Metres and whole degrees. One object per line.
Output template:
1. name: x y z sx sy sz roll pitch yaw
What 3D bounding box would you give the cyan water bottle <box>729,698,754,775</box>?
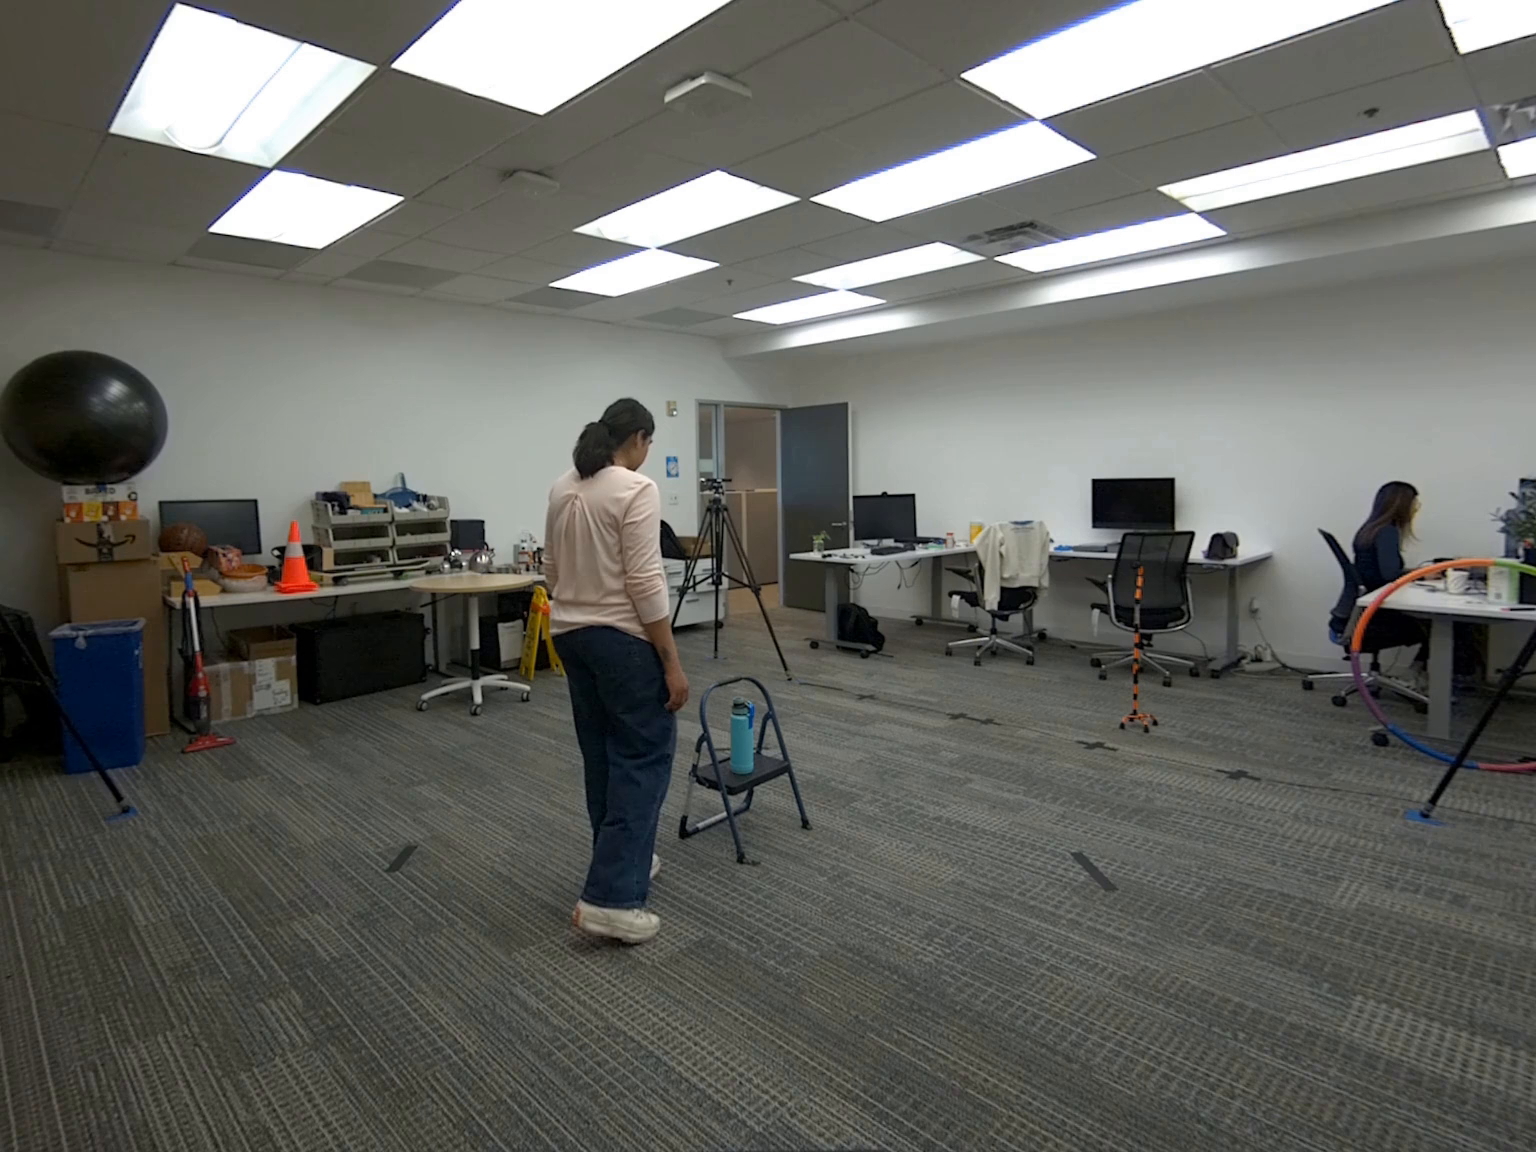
1. cyan water bottle: -0.100 0.622 3.319 0.092 0.282 0.093 2 6 -2
